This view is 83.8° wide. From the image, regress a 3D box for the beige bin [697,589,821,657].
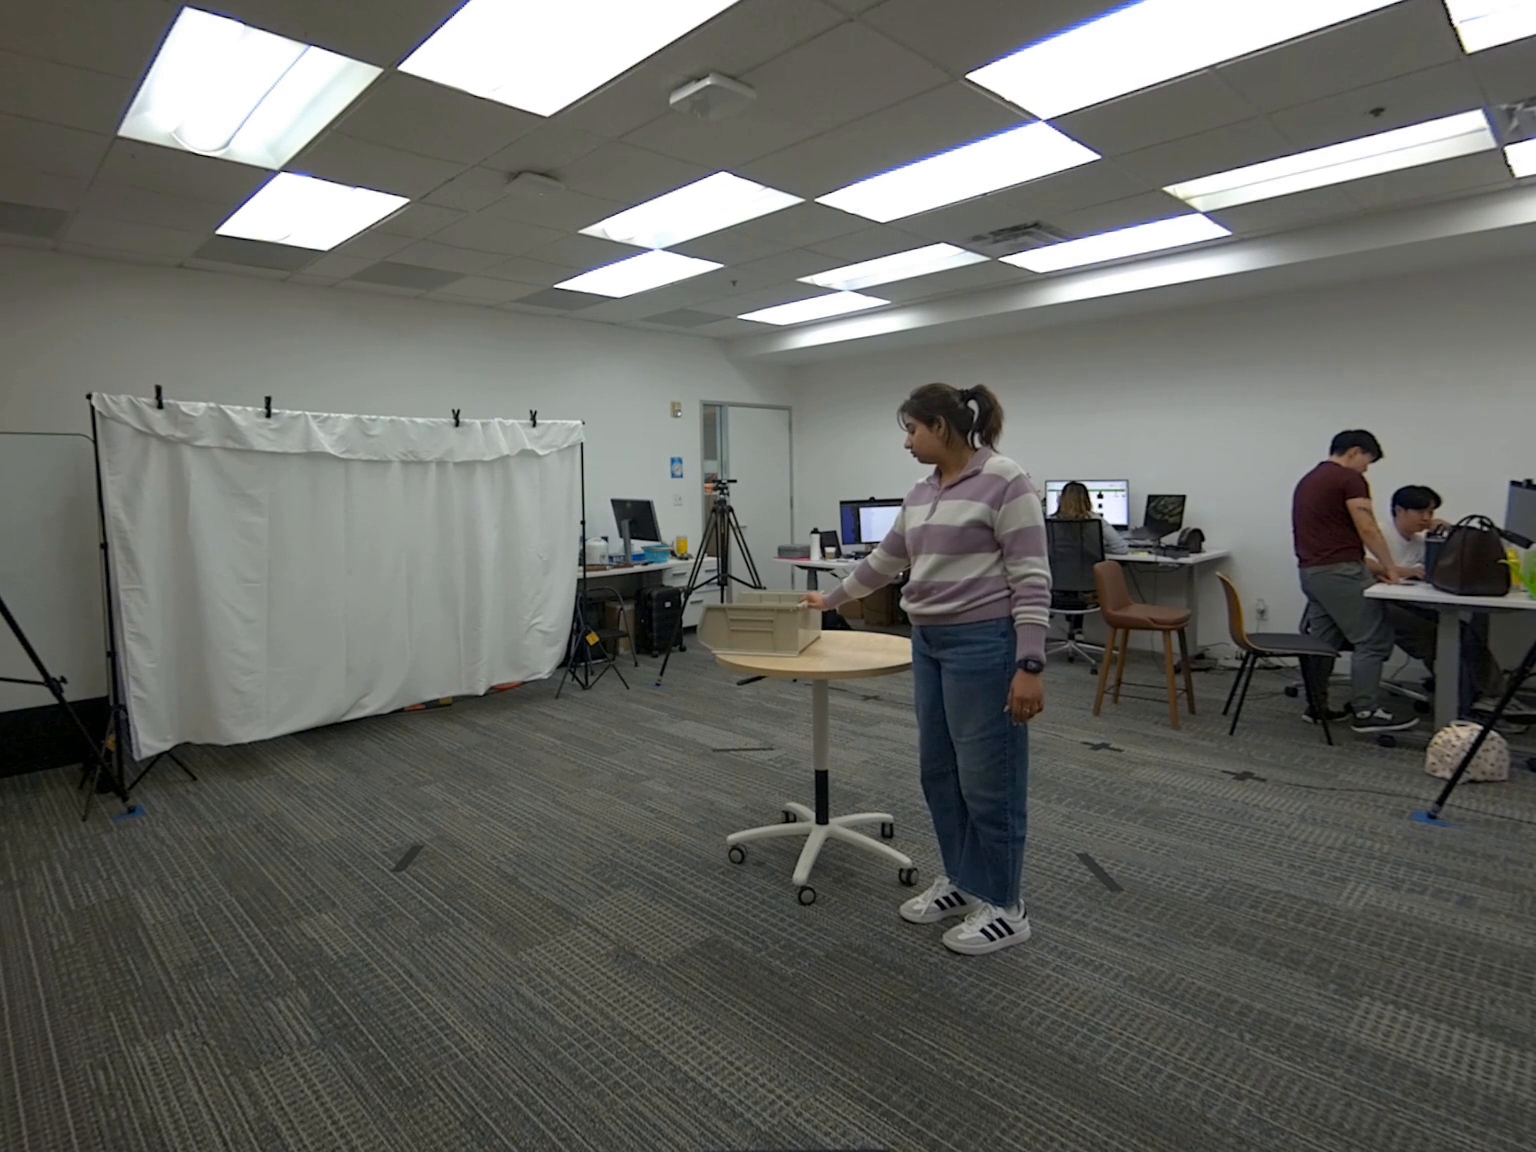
[{"bbox_3d":[-0.013,0.170,3.173,0.383,0.188,0.417,1,5,15],"label":"beige bin"}]
